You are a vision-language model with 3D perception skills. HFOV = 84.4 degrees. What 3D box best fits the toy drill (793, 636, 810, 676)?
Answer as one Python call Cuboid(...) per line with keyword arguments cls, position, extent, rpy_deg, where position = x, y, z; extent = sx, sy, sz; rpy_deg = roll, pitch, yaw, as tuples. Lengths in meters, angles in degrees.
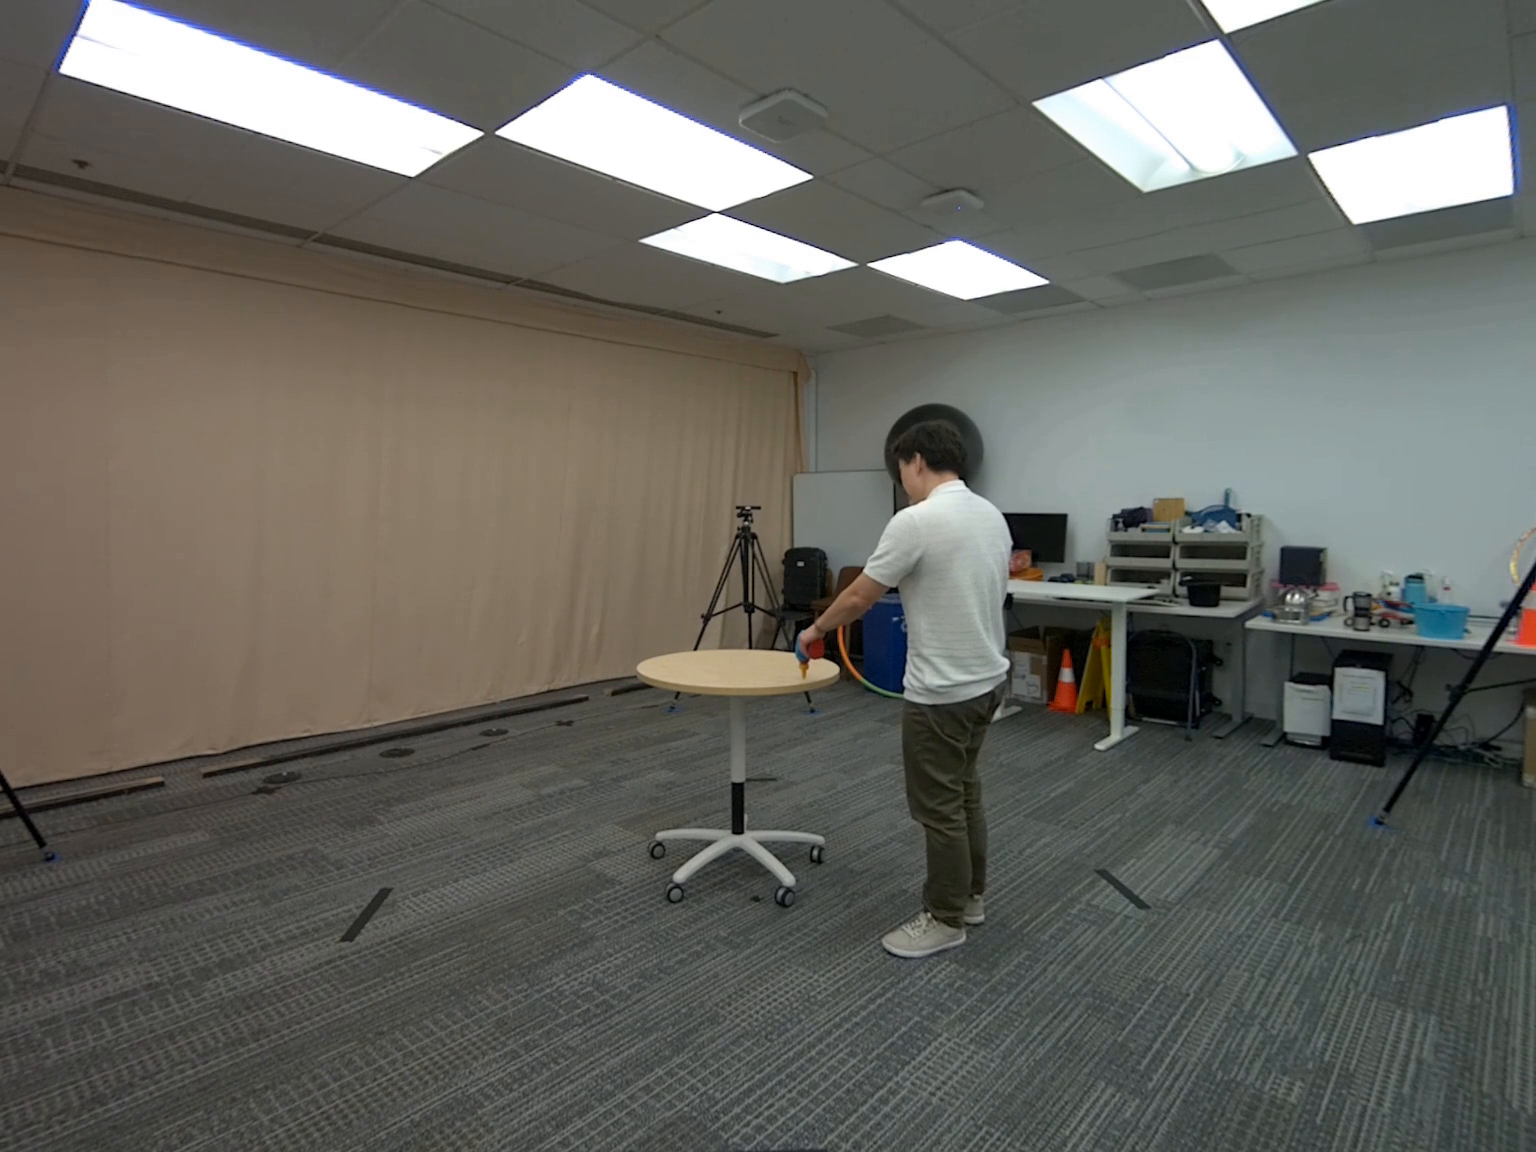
Cuboid(cls="toy drill", position=(0.150, 0.278, 2.871), extent=(0.060, 0.169, 0.148), rpy_deg=(4, 5, -11))
